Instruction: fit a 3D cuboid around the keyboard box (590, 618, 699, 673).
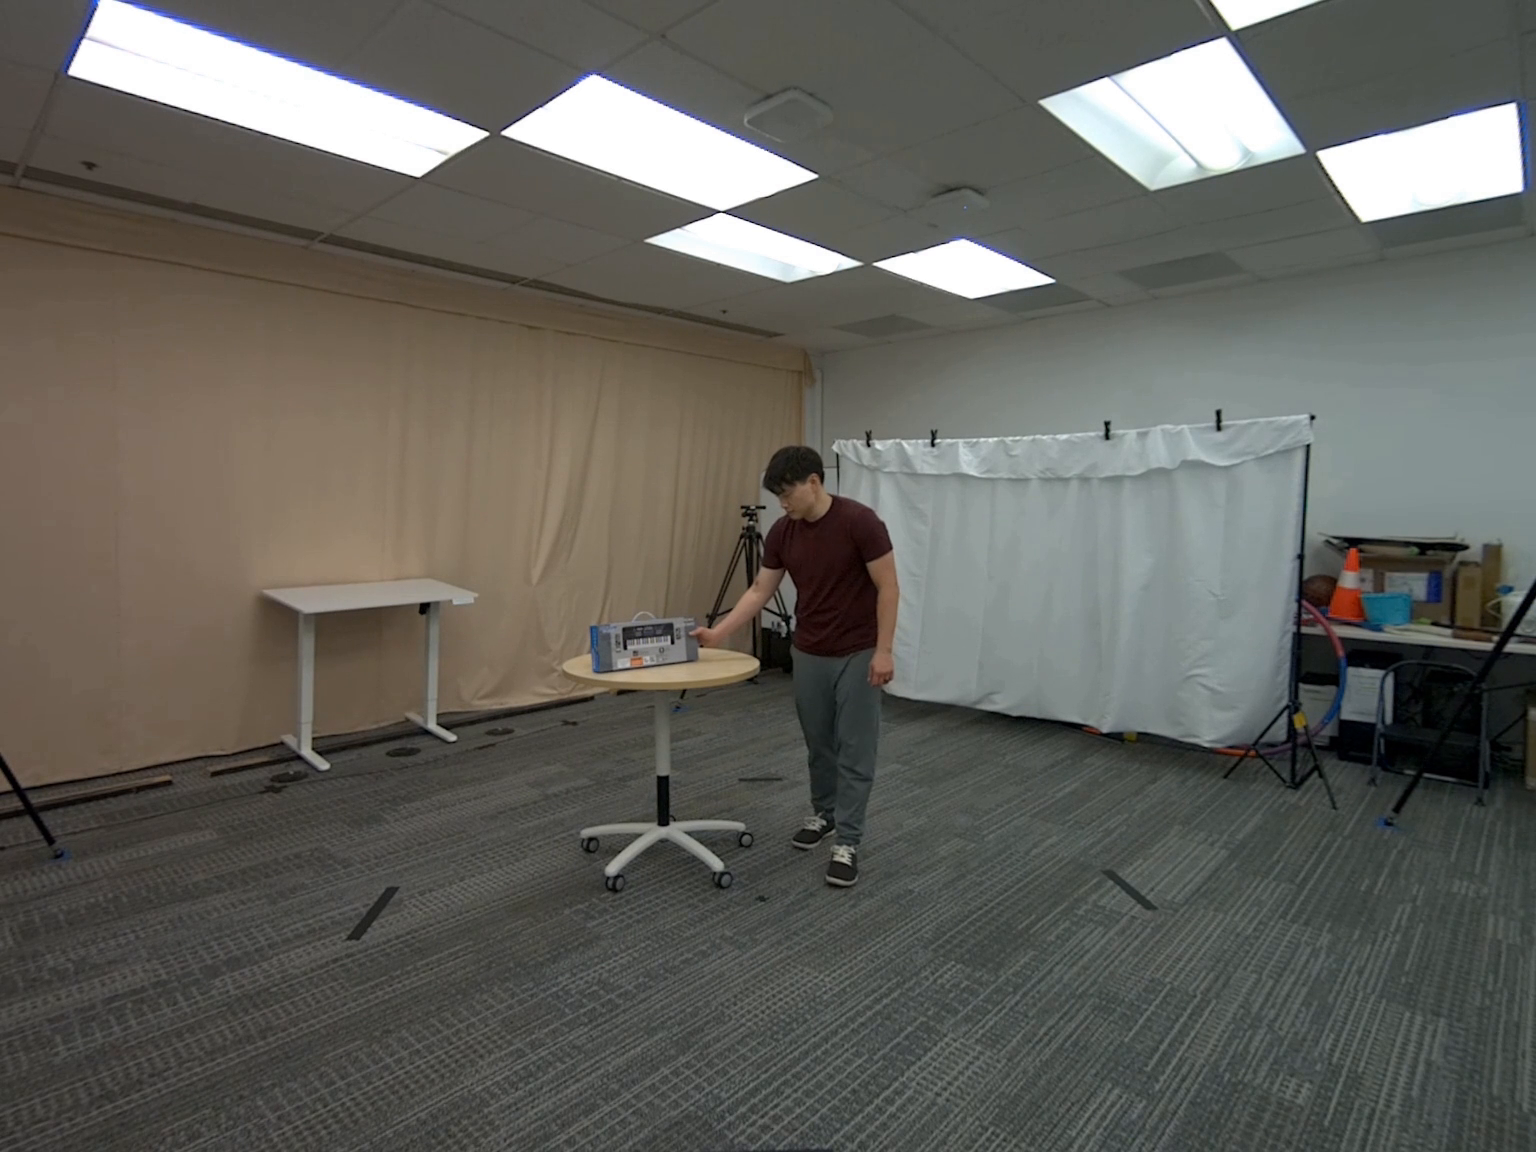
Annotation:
[{"bbox_3d":[-0.464,0.261,3.218,0.424,0.176,0.061,-3,-3,-35],"label":"keyboard box"}]
